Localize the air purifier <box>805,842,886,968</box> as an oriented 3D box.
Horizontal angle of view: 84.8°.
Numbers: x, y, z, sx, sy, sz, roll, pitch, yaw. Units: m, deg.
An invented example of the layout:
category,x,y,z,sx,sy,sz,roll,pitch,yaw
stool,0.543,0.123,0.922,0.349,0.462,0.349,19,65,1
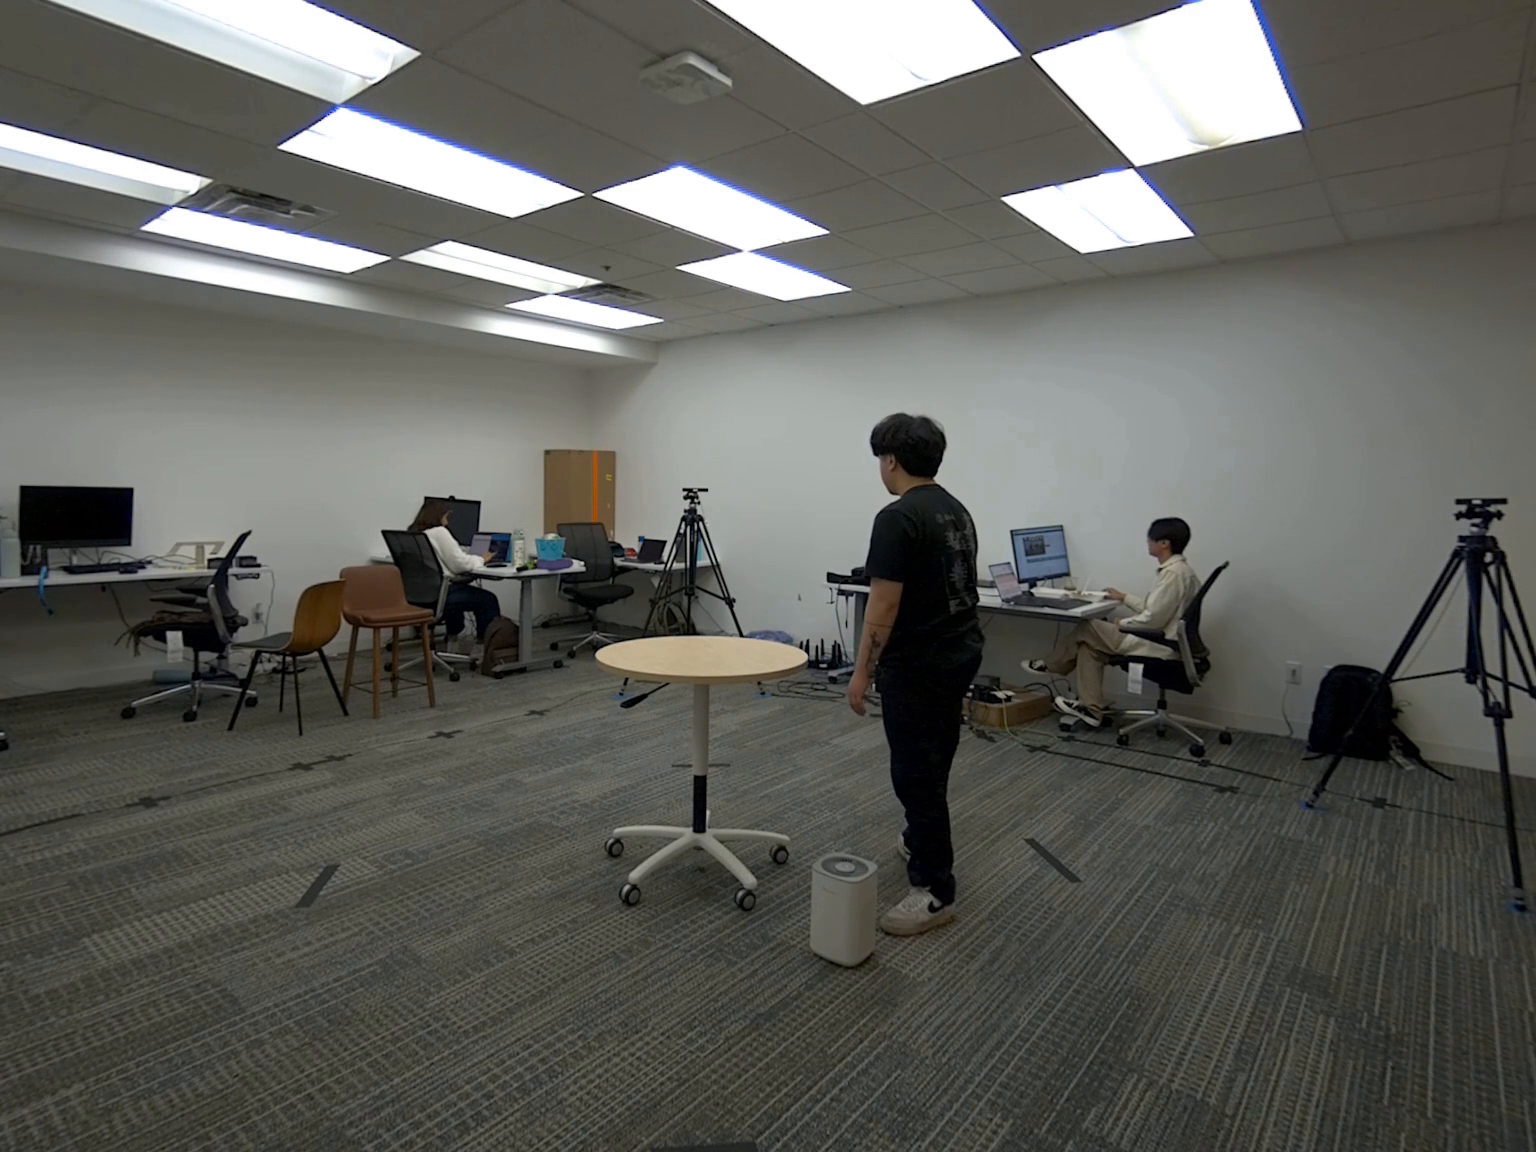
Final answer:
category,x,y,z,sx,sy,sz,roll,pitch,yaw
air purifier,0.236,0.992,2.561,0.176,0.264,0.167,4,5,35
